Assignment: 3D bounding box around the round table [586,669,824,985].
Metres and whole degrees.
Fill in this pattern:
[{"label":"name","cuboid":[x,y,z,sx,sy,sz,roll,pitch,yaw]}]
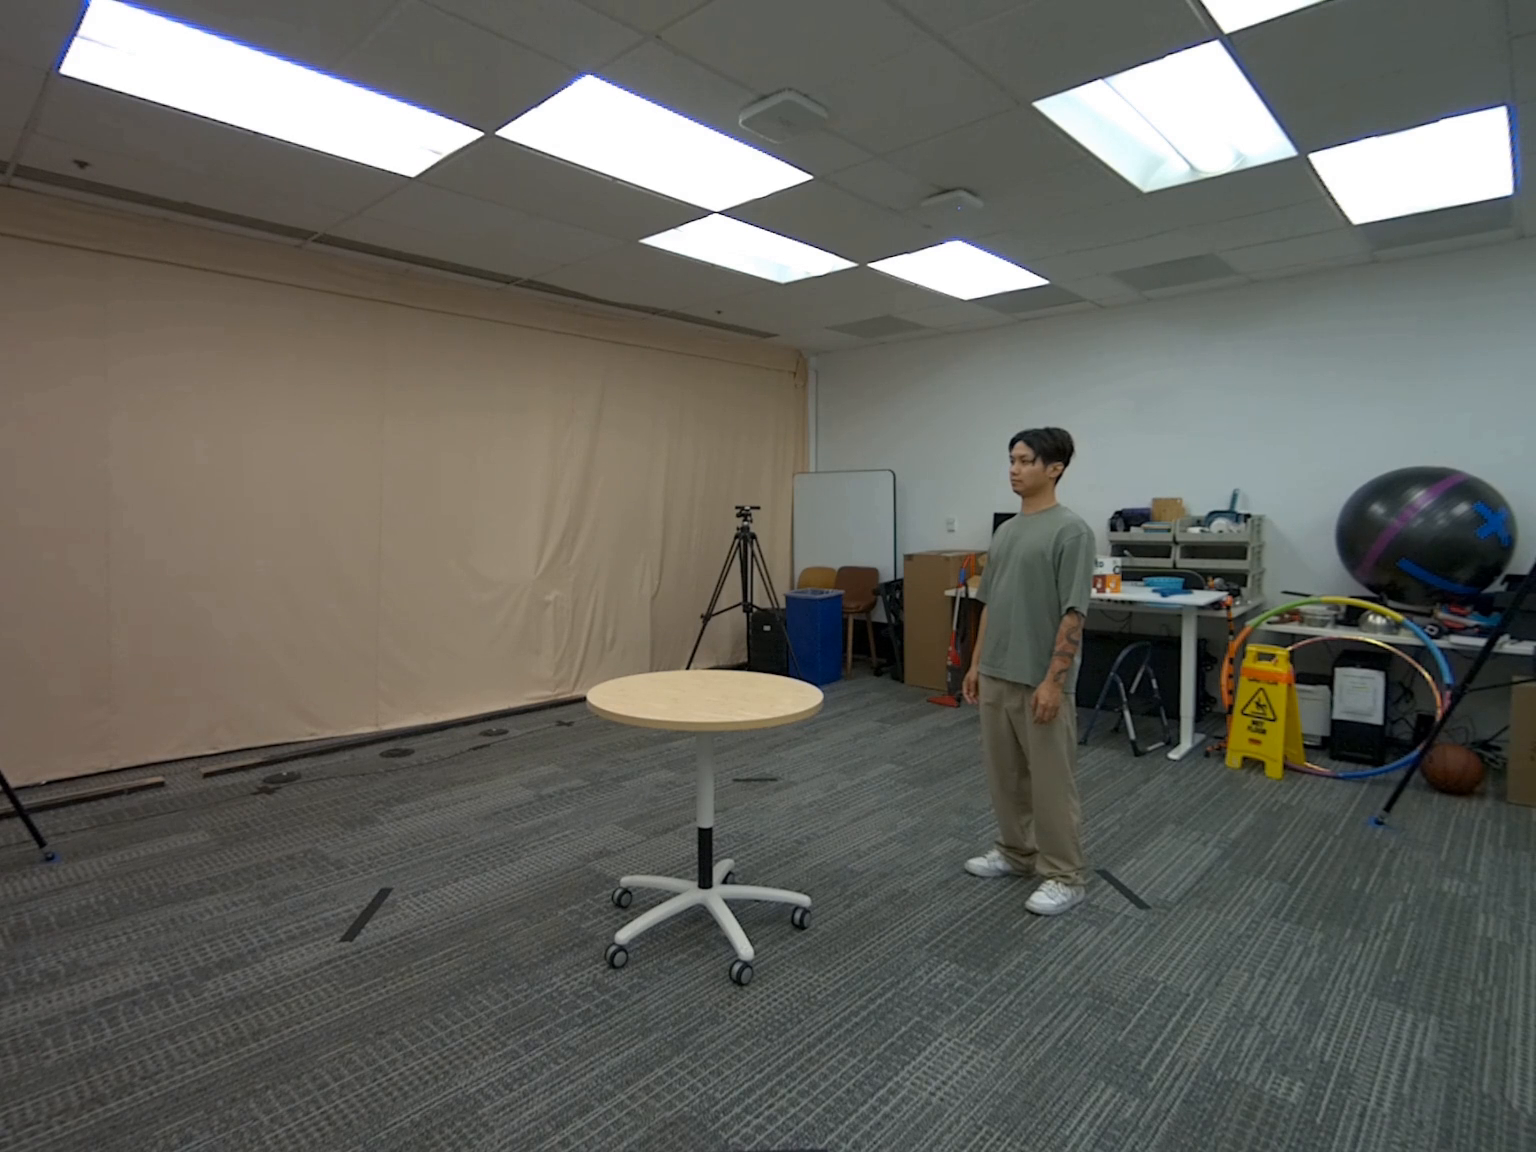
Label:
[{"label":"round table","cuboid":[-0.200,0.772,2.770,0.784,0.785,0.787,1,3,-2]}]
